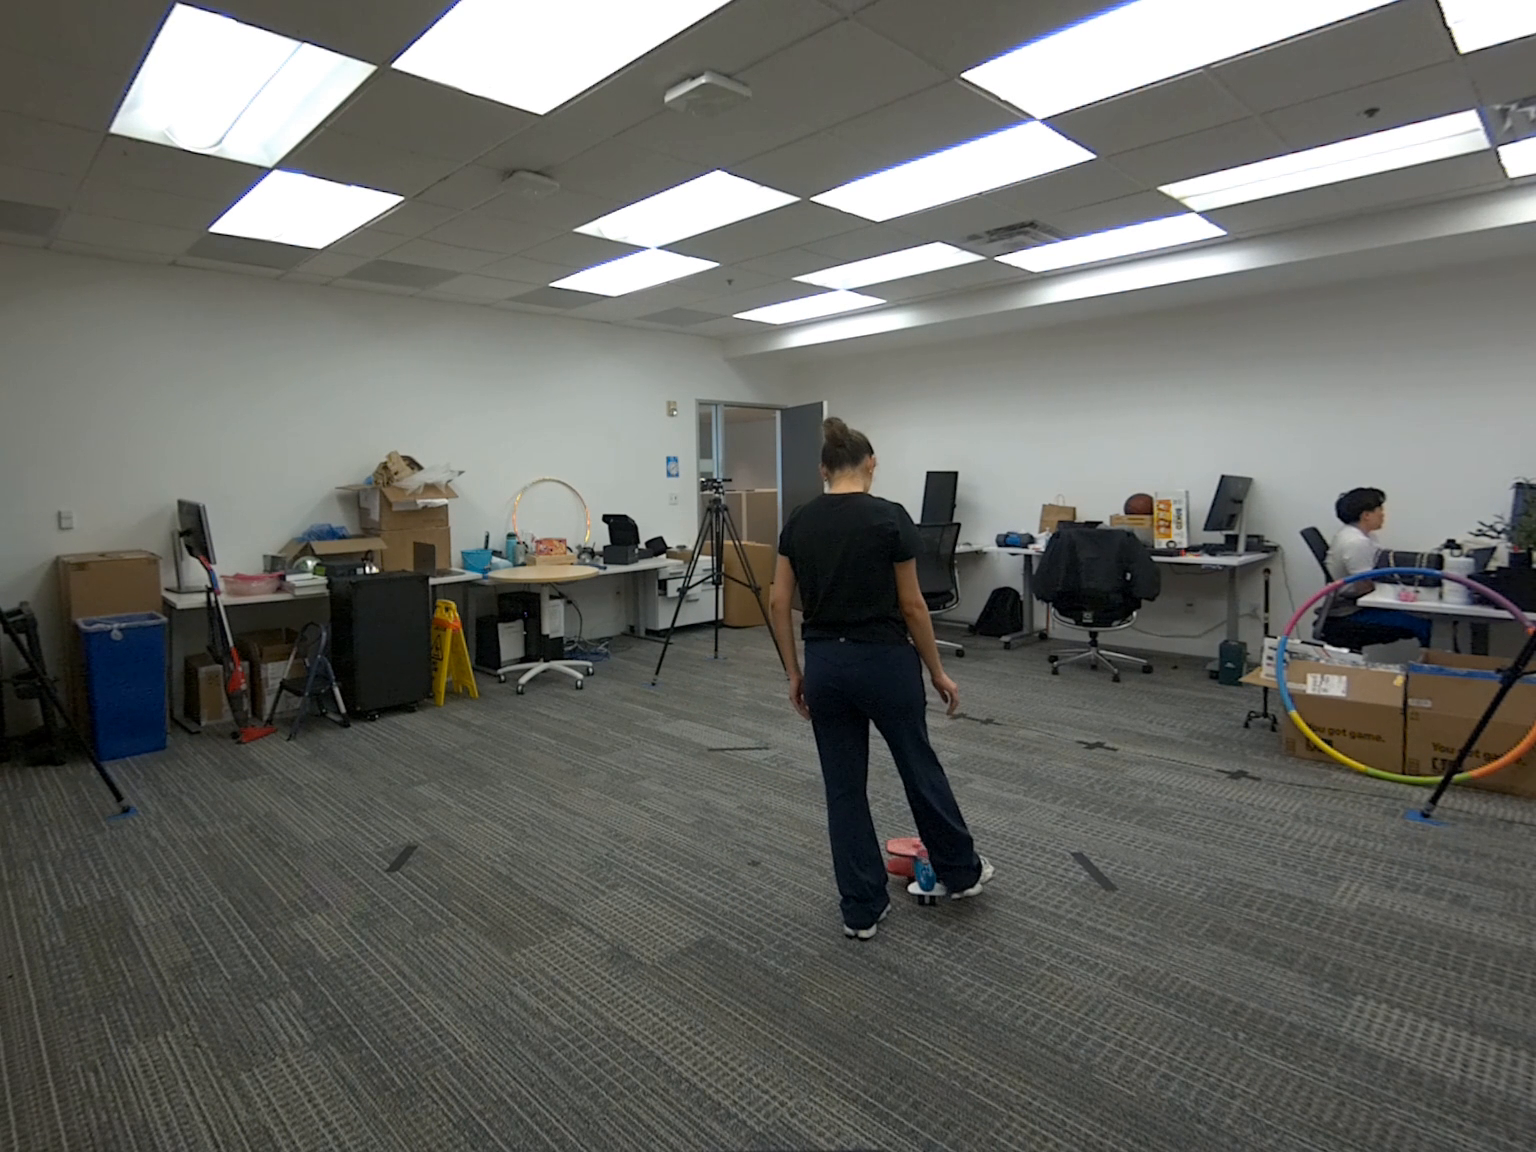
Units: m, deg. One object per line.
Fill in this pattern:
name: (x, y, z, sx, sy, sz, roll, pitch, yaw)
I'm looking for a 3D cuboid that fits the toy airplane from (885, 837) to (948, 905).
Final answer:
toy airplane: (0.545, 0.983, 2.883, 0.247, 0.156, 0.264, -2, 5, -19)
